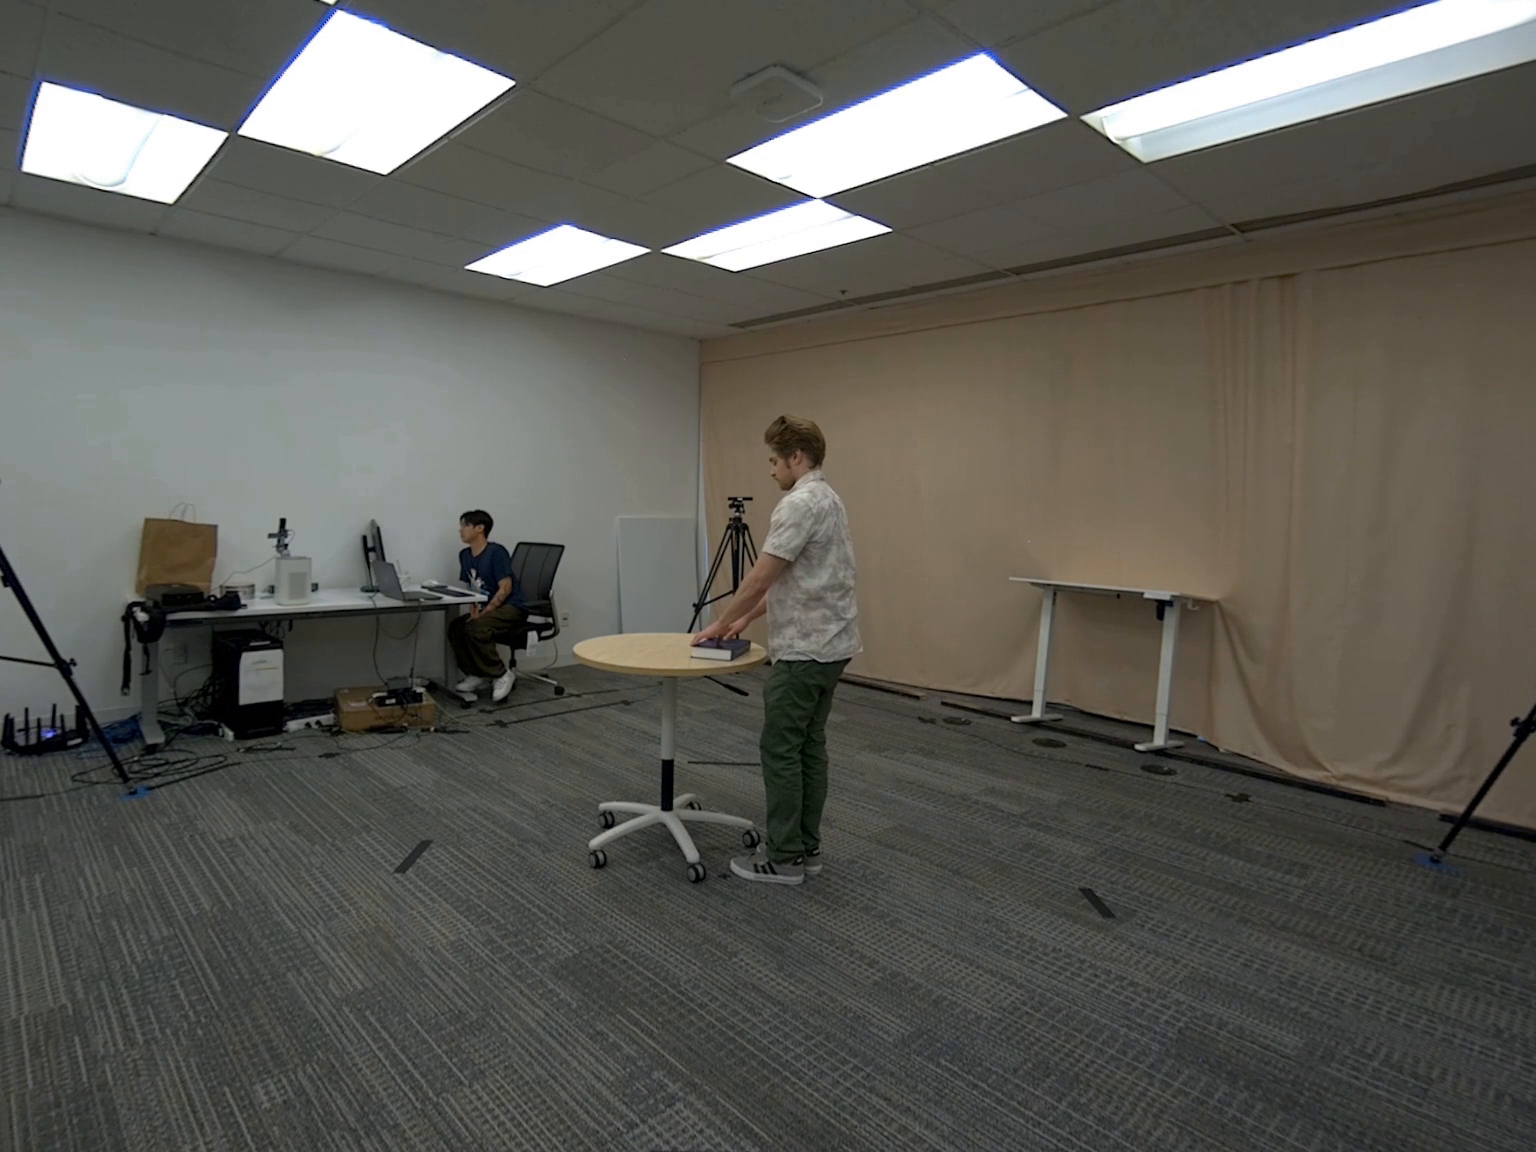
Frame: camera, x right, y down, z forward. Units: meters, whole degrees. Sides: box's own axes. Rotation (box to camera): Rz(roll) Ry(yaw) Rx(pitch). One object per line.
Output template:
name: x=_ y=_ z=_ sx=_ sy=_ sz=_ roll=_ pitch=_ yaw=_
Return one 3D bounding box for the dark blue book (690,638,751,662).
dark blue book: x=-0.185 y=0.284 z=3.267 sx=0.166 sy=0.045 sz=0.242 roll=4 pitch=6 yaw=16
